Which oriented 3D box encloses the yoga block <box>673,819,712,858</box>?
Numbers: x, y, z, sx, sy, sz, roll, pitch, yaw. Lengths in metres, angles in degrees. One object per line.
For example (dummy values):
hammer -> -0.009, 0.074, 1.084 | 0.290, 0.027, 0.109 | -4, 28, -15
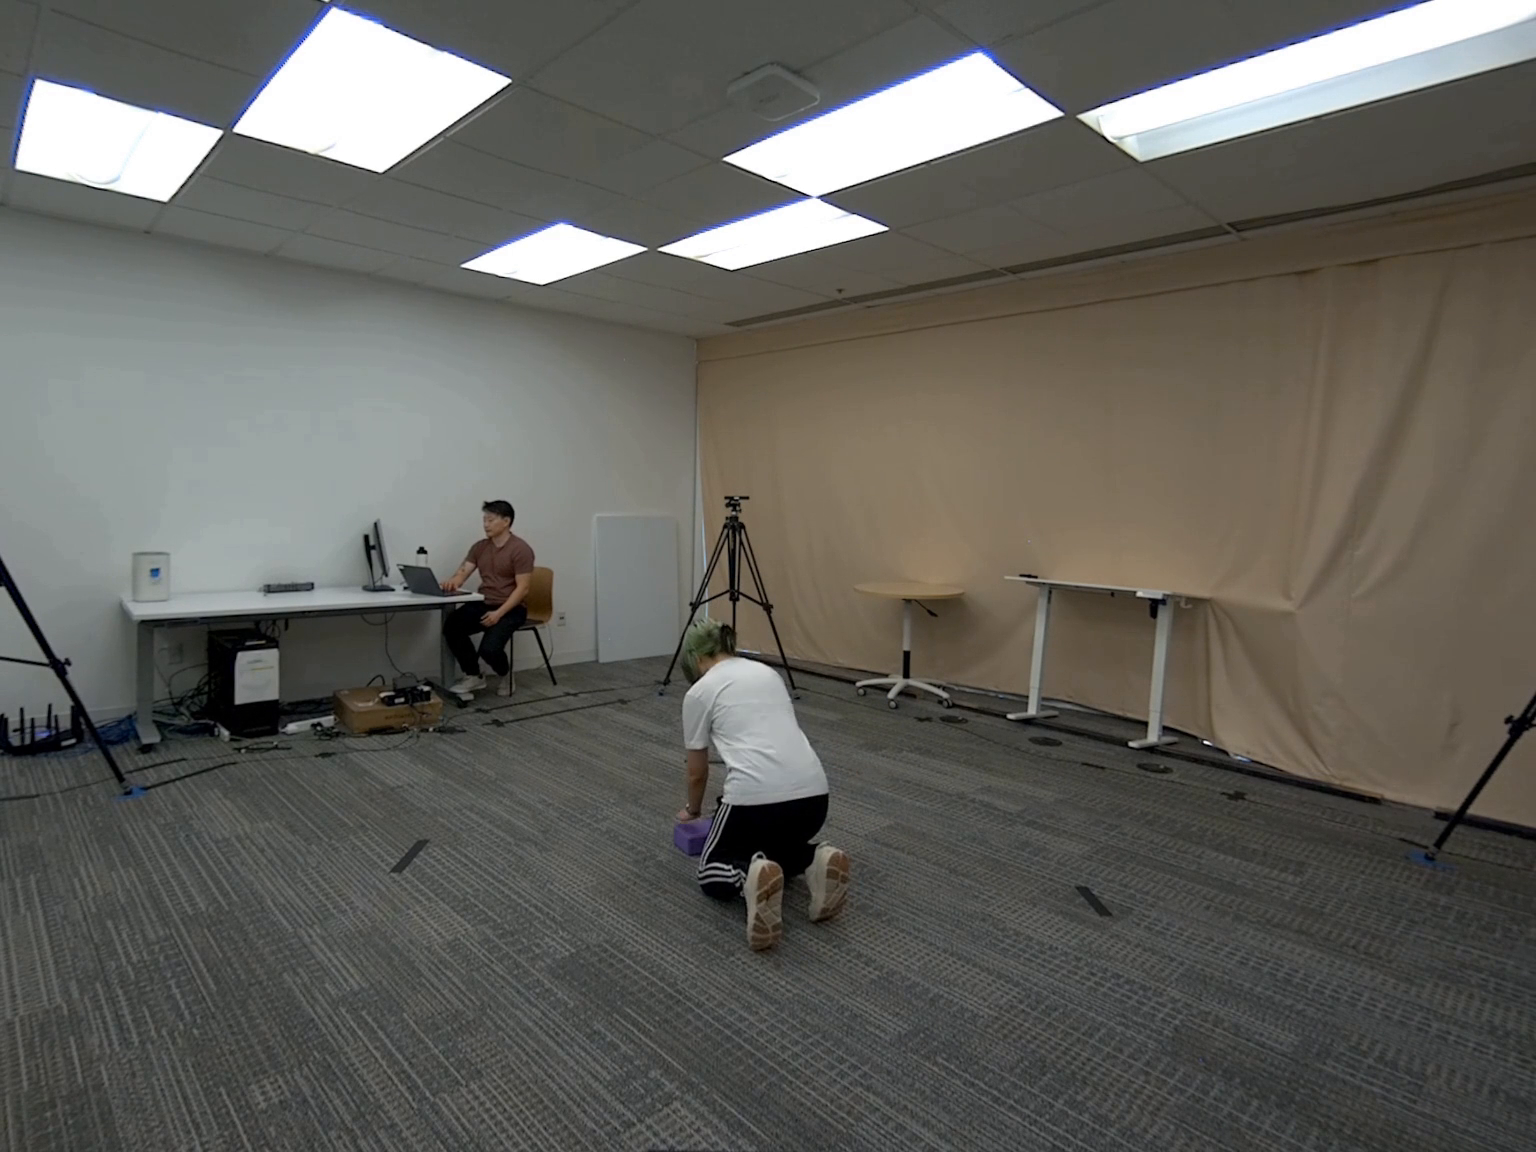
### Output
yoga block -> -0.251, 1.036, 3.363 | 0.225, 0.076, 0.152 | -3, 5, -30
